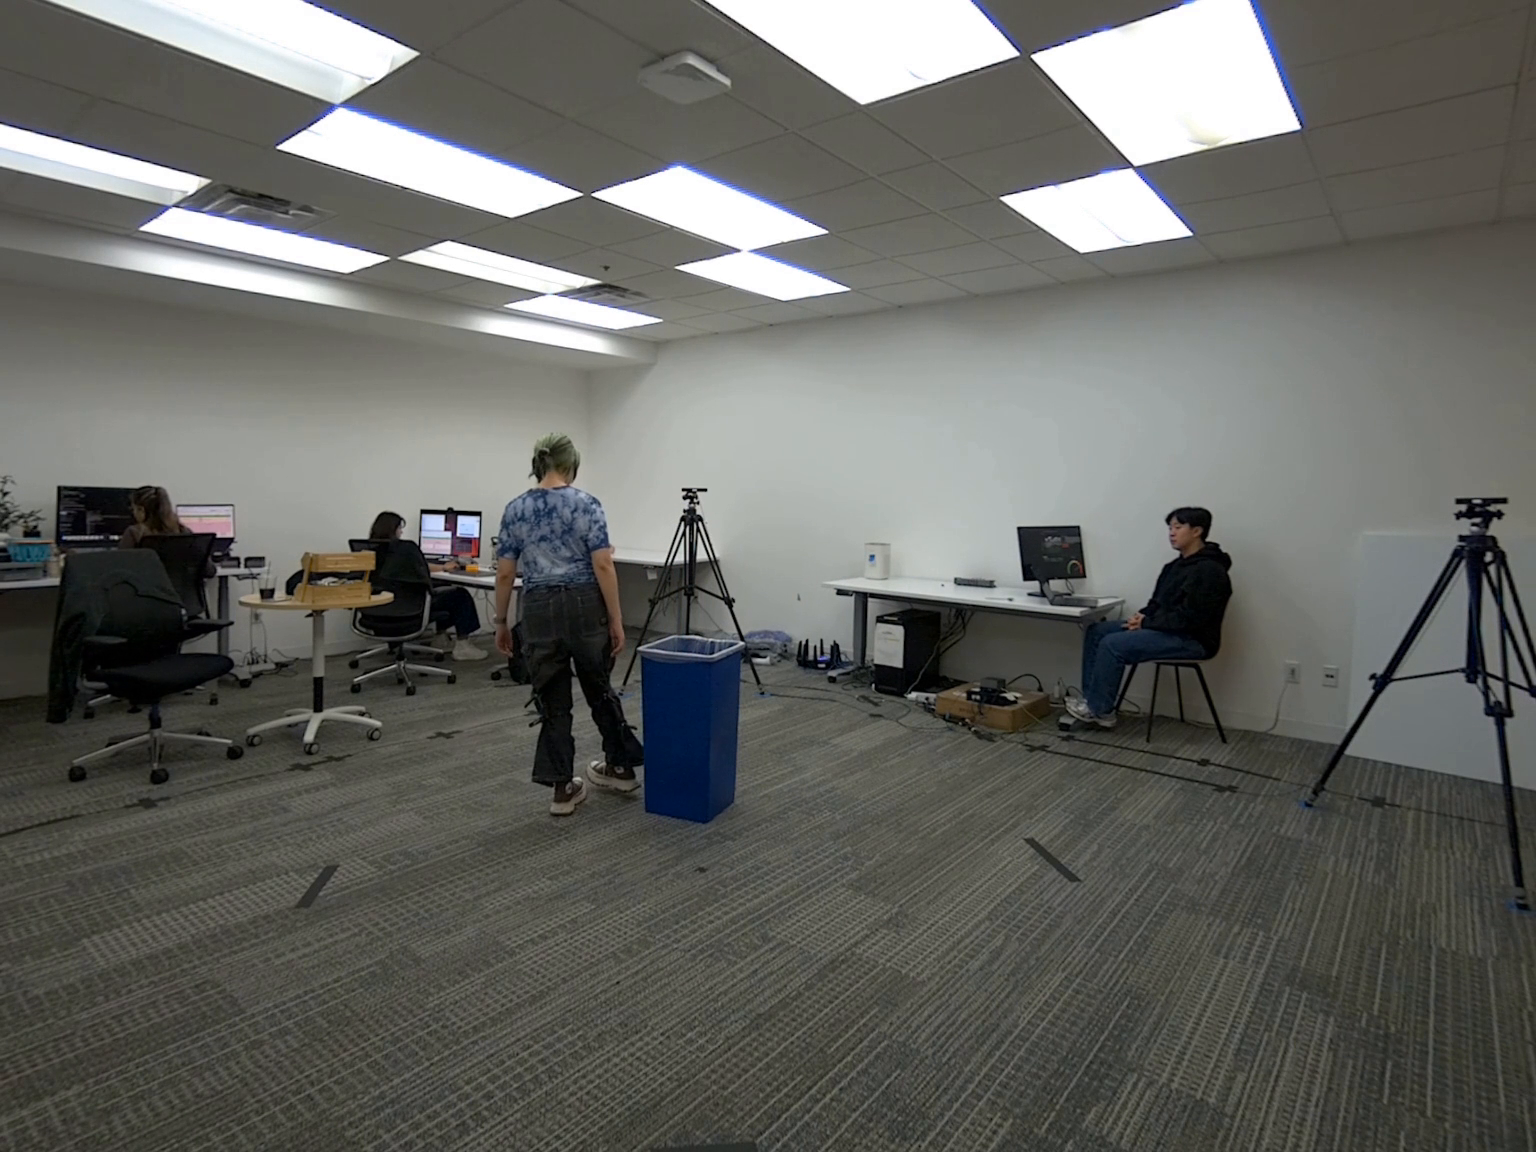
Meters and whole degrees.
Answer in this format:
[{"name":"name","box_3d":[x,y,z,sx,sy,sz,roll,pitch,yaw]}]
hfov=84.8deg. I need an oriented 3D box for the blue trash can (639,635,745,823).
[{"name":"blue trash can","box_3d":[-0.347,0.652,3.703,0.387,0.711,0.366,2,3,22]}]
